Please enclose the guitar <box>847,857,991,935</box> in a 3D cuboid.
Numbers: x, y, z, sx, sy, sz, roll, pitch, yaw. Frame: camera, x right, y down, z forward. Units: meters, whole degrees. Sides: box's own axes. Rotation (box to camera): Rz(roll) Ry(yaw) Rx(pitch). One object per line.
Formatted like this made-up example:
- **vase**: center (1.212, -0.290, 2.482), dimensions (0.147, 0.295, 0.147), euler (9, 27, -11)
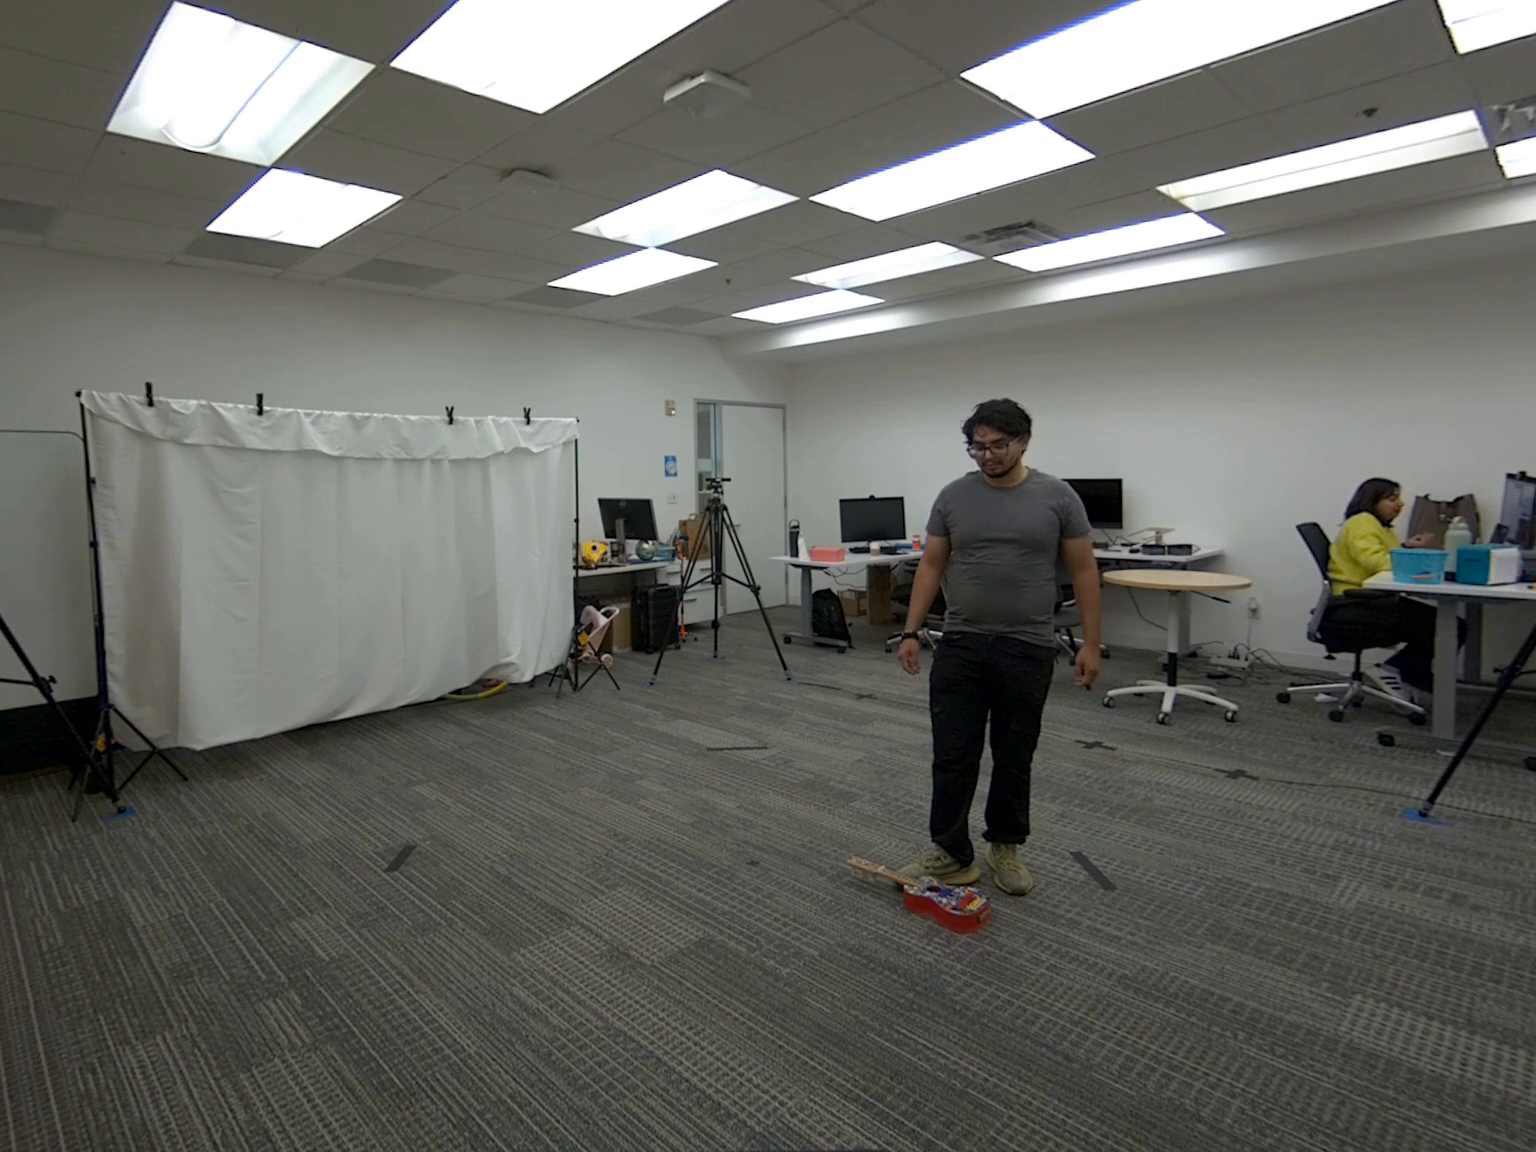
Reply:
- **guitar**: center (0.504, 1.032, 2.828), dimensions (0.188, 0.070, 0.513), euler (-6, 9, -40)
